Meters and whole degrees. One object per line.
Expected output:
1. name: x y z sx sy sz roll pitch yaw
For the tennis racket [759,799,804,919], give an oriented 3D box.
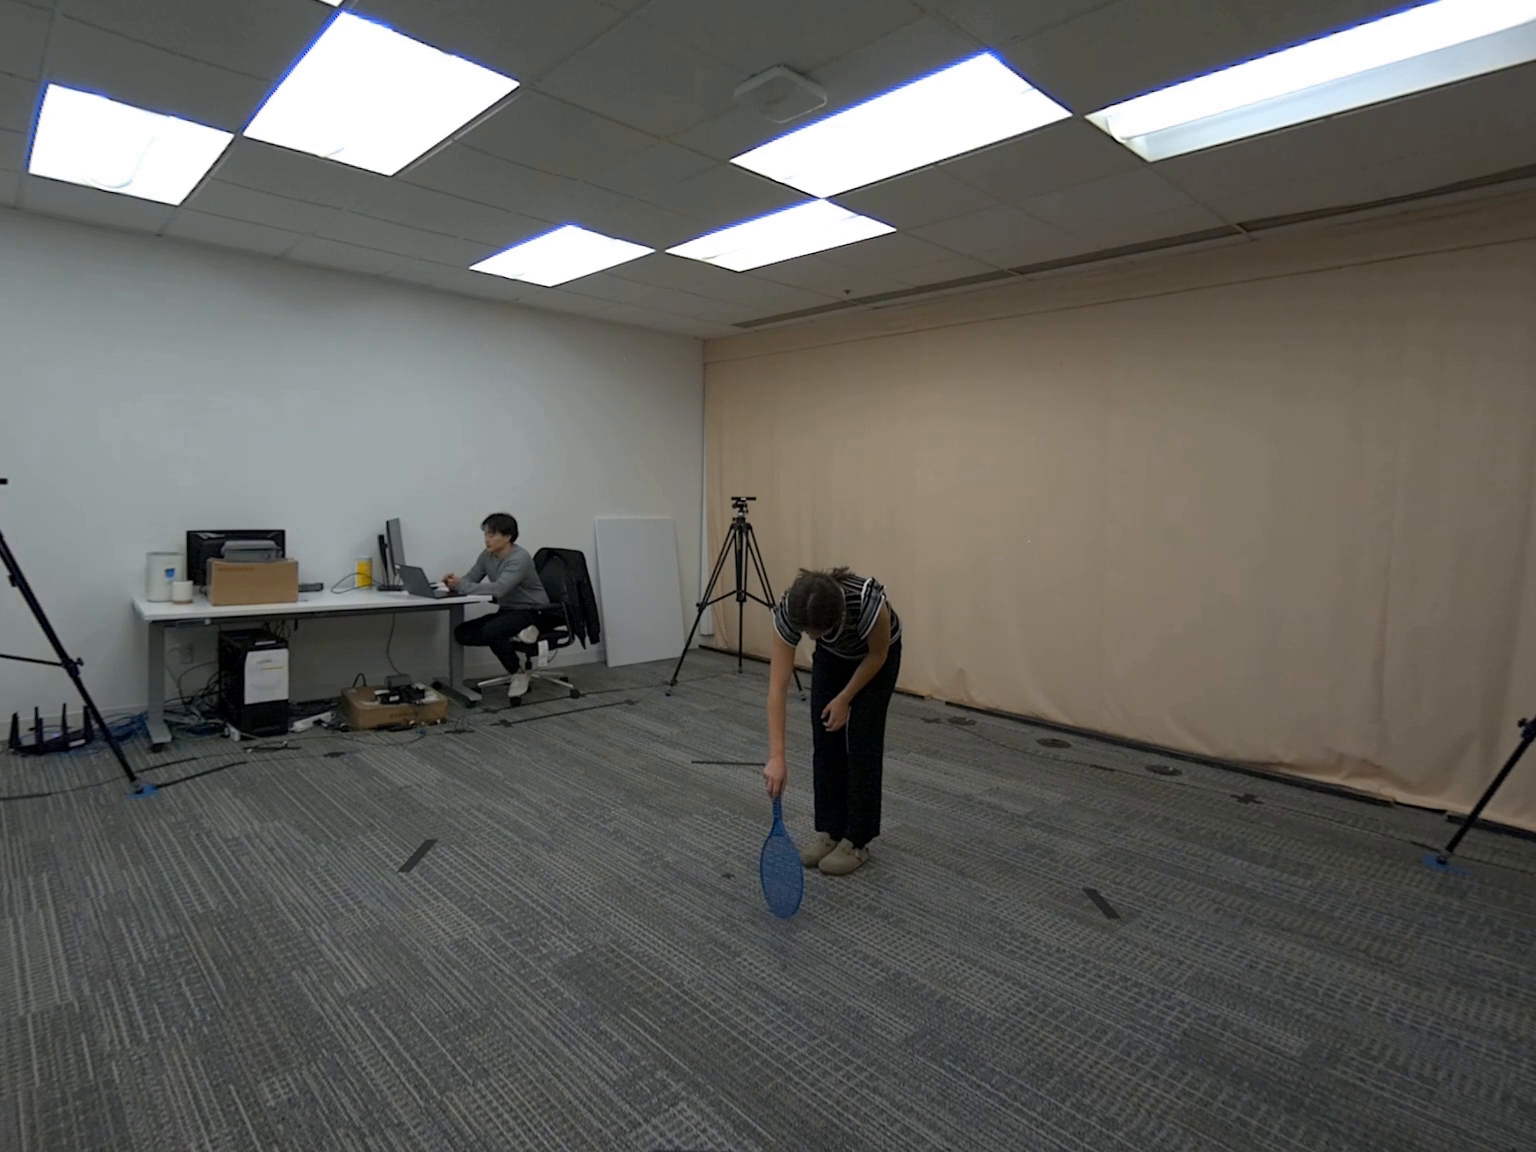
1. tennis racket: 0.030 0.919 2.844 0.031 0.436 0.217 7 -14 -38
